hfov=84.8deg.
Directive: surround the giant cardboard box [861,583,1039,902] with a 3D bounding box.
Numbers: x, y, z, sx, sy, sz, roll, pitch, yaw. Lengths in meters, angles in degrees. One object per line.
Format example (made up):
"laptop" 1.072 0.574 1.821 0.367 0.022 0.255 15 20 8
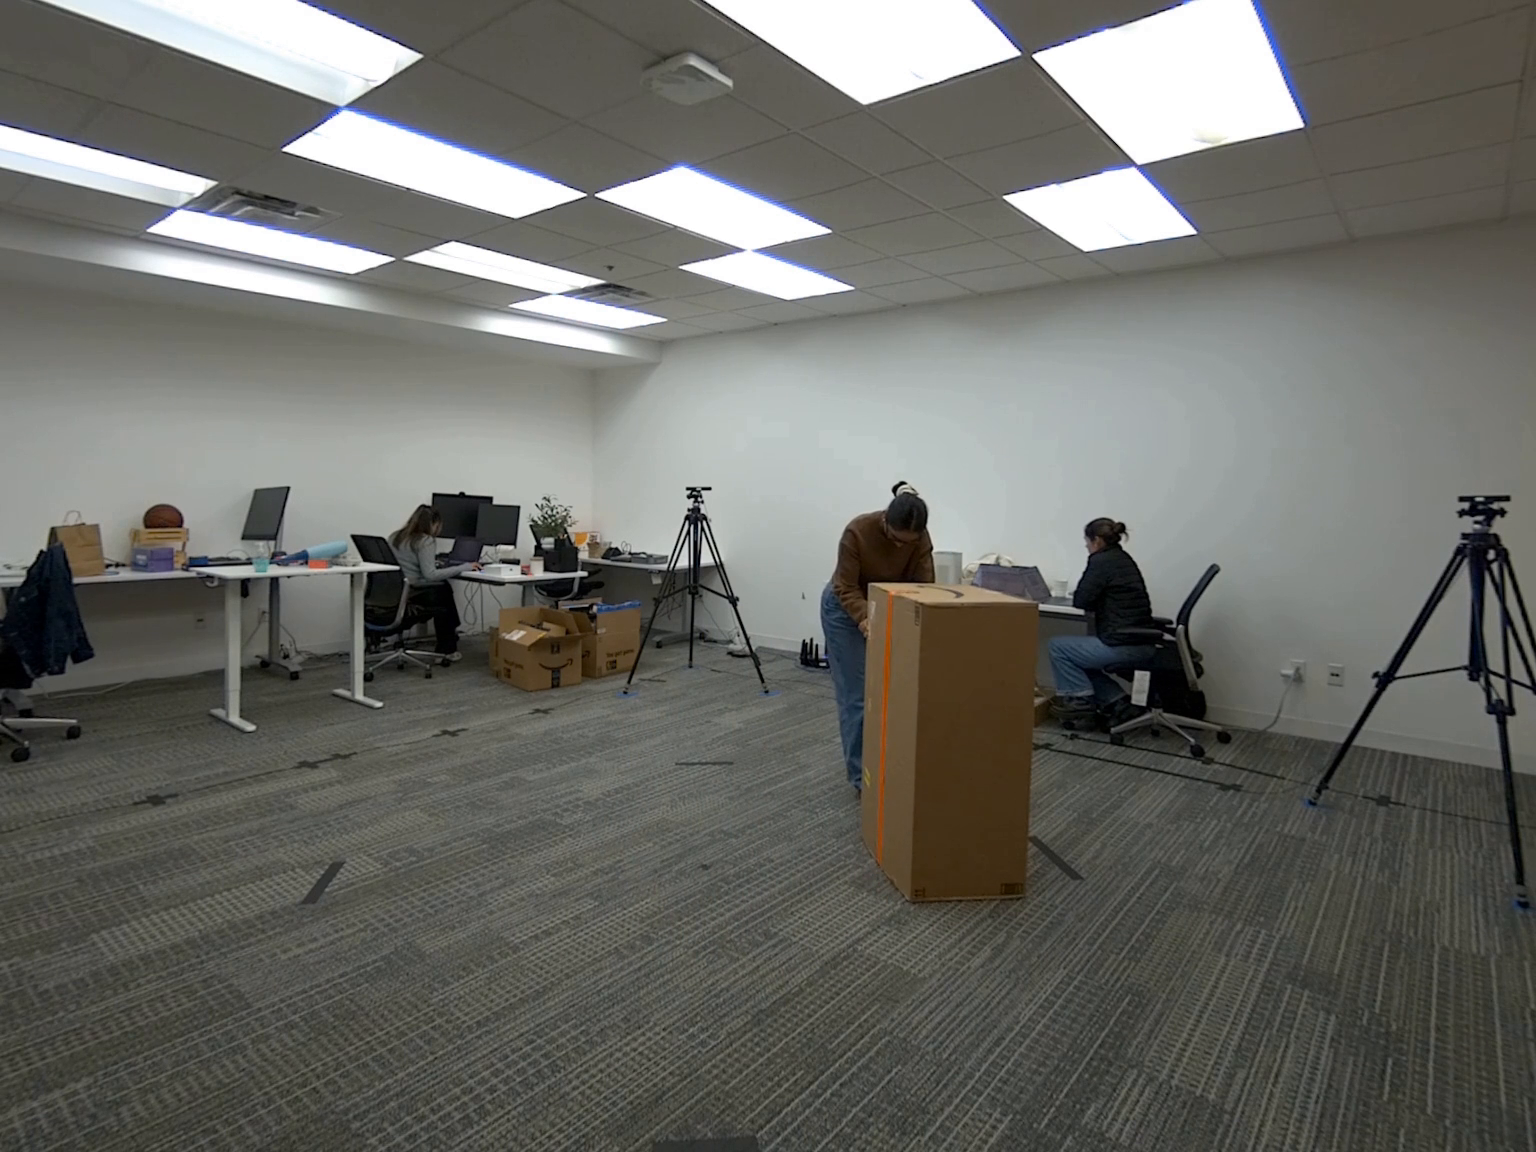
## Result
"giant cardboard box" 0.636 0.568 3.150 0.423 1.023 0.584 1 3 -9
